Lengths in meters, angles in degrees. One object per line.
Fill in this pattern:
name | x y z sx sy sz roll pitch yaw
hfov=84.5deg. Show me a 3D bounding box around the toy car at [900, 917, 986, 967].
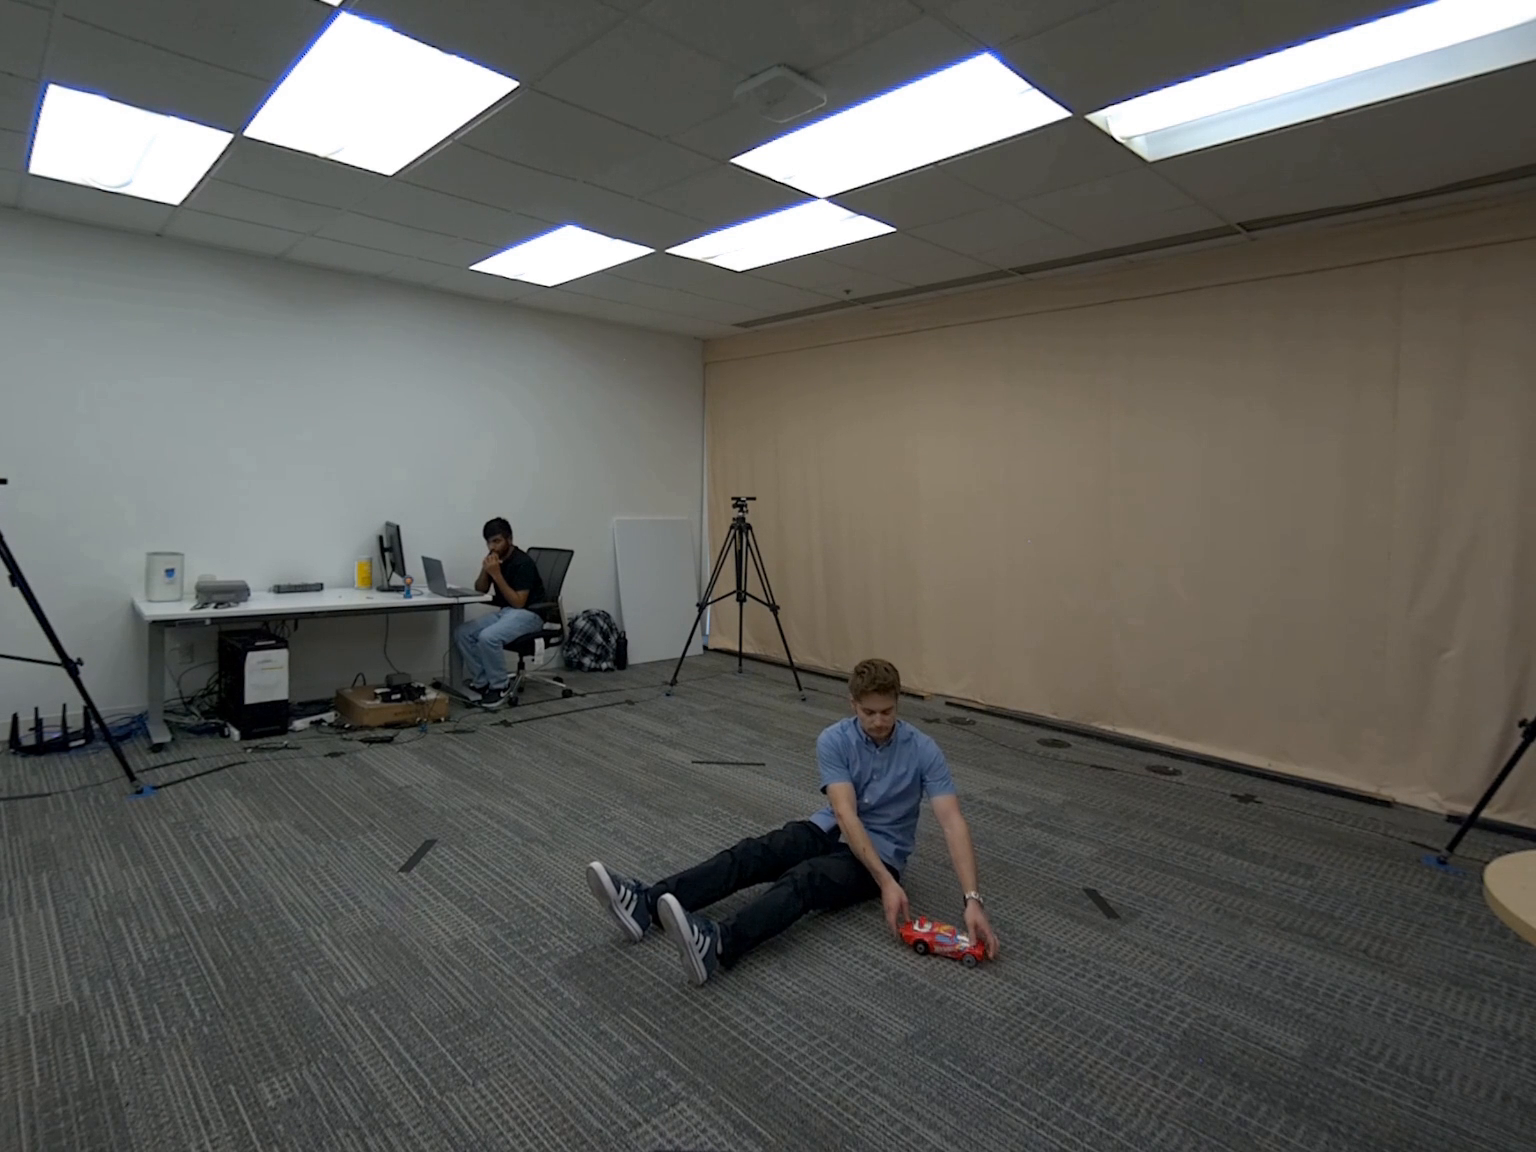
toy car | 0.526 1.132 2.630 0.260 0.083 0.128 17 10 24
